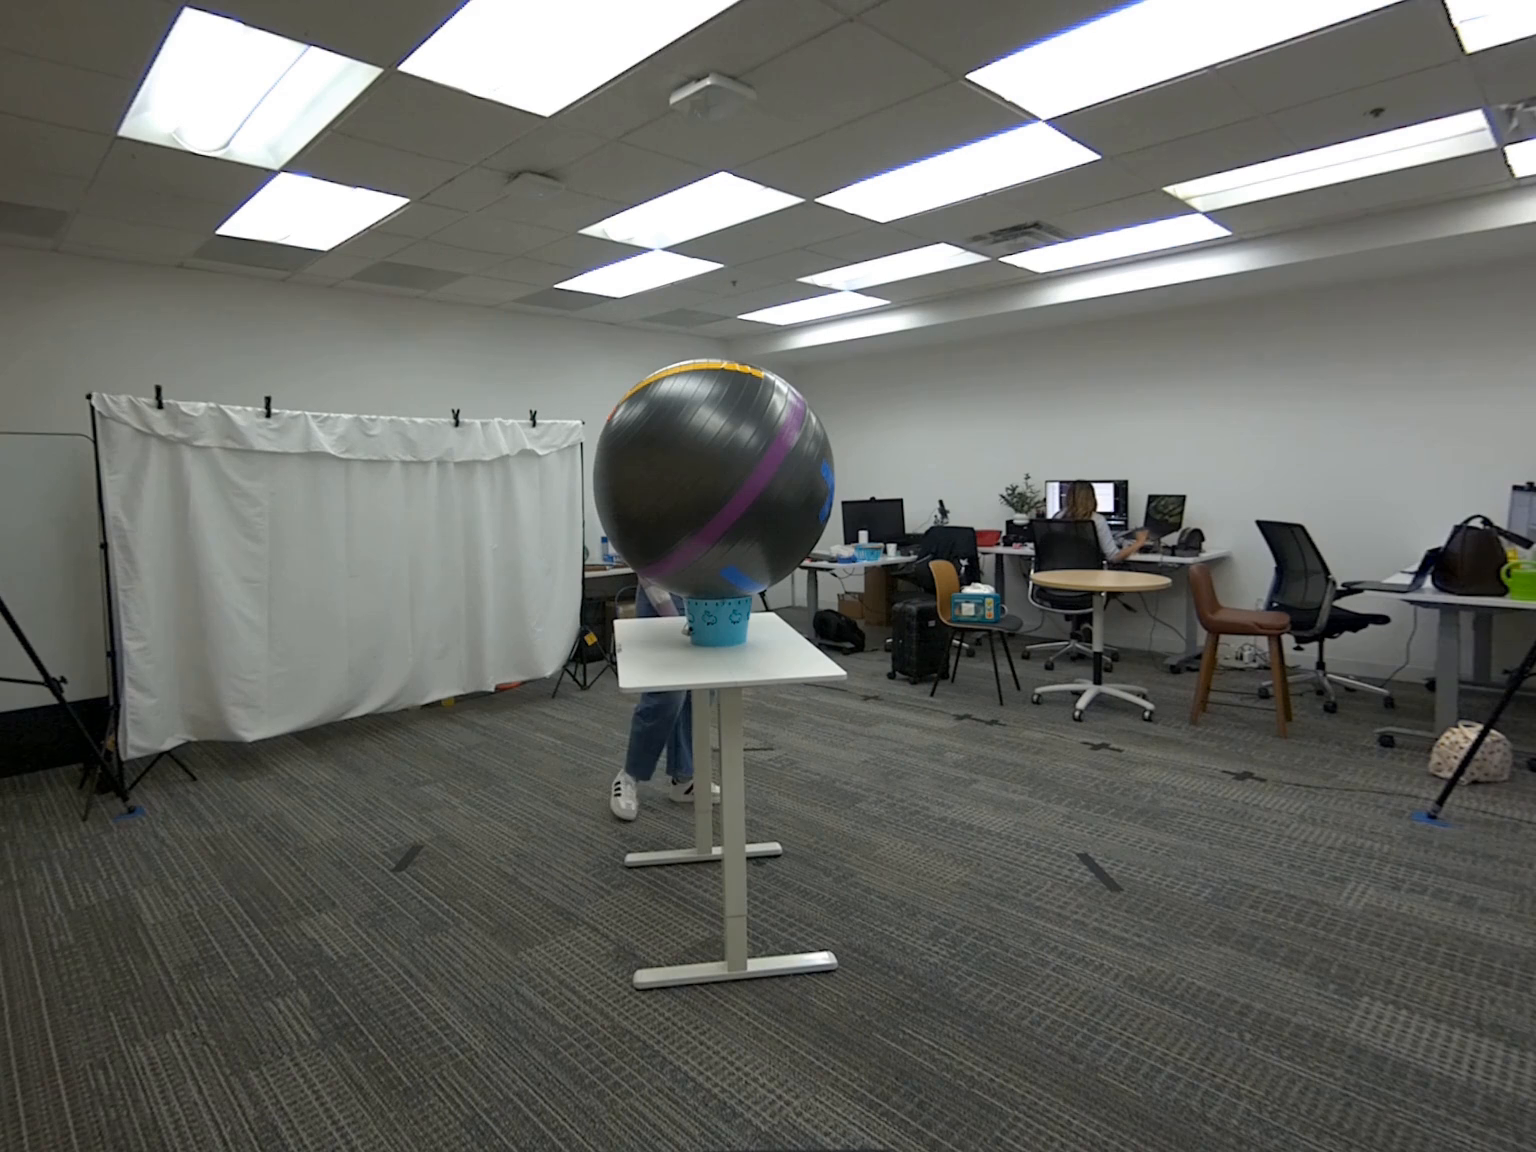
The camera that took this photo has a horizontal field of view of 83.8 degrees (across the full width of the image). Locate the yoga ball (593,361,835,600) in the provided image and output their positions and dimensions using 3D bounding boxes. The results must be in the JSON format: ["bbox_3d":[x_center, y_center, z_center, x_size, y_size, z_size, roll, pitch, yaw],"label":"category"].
[{"bbox_3d":[-0.171,-0.296,2.687,0.757,0.755,0.762,-1,5,-2],"label":"yoga ball"}]
